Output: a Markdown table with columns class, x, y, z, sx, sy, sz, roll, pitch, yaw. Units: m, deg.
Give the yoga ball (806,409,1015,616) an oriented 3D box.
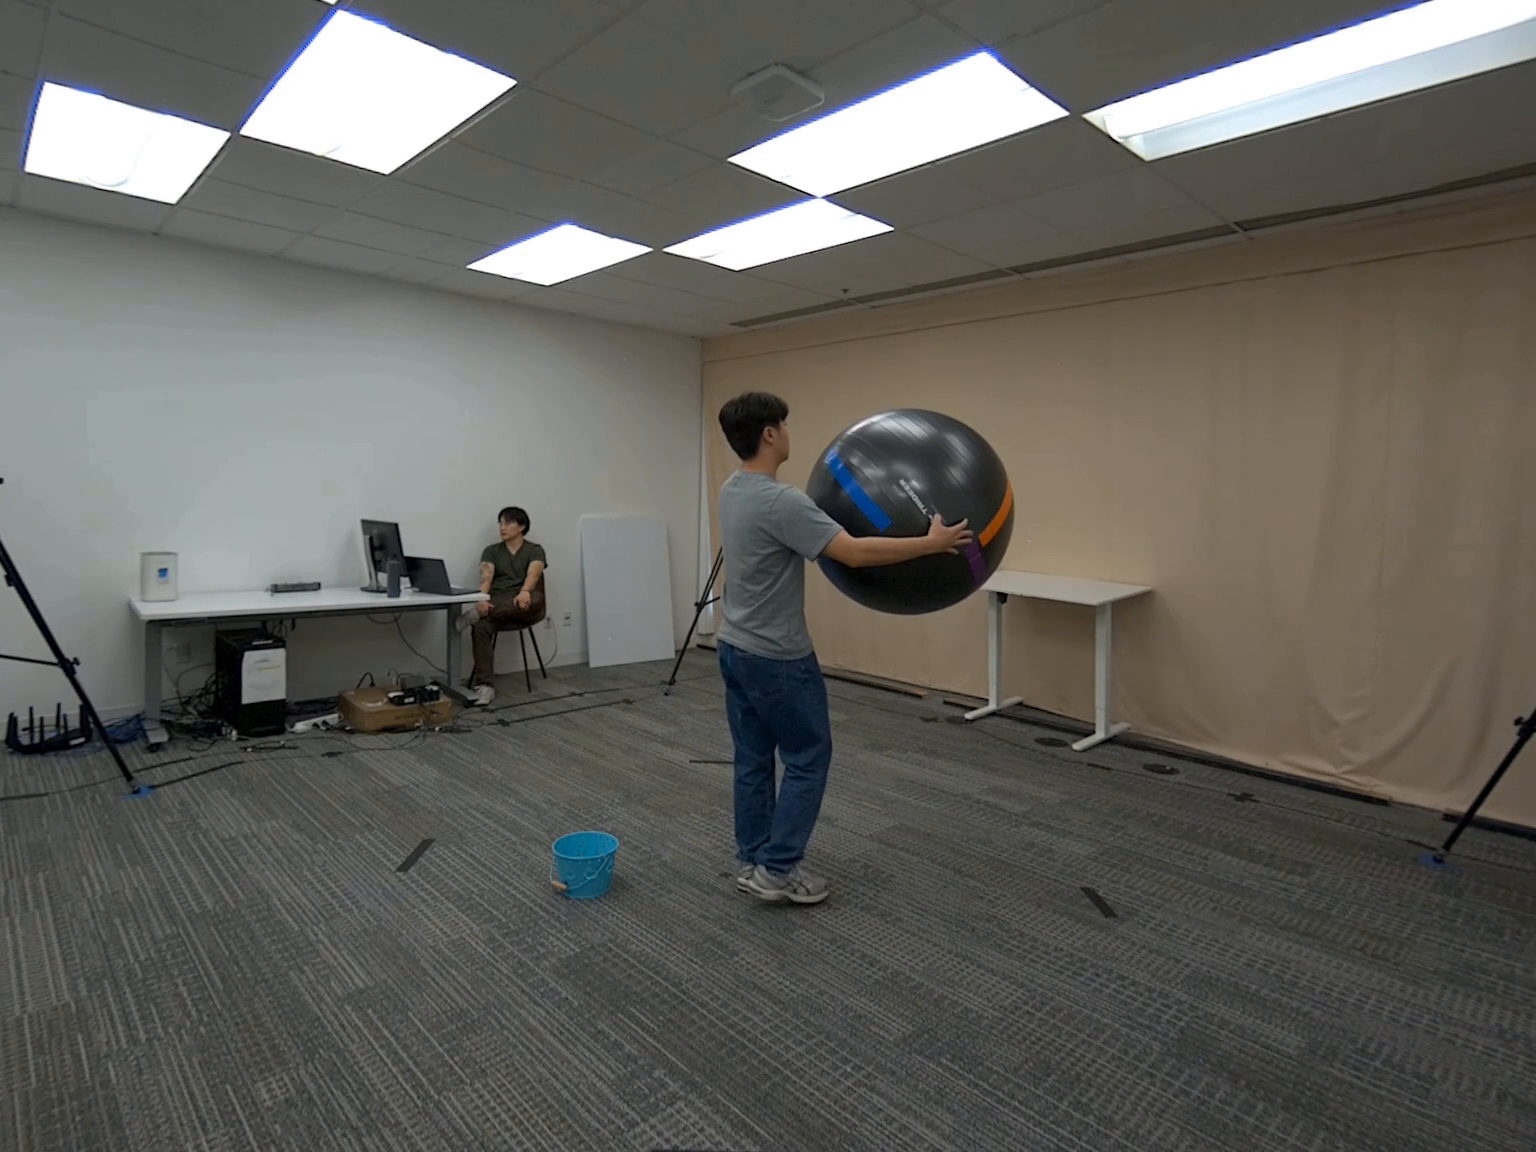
| class | x | y | z | sx | sy | sz | roll | pitch | yaw |
| --- | --- | --- | --- | --- | --- | --- | --- | --- | --- |
| yoga ball | 0.521 | -0.229 | 3.113 | 0.757 | 0.756 | 0.761 | 1 | 4 | -1 |
